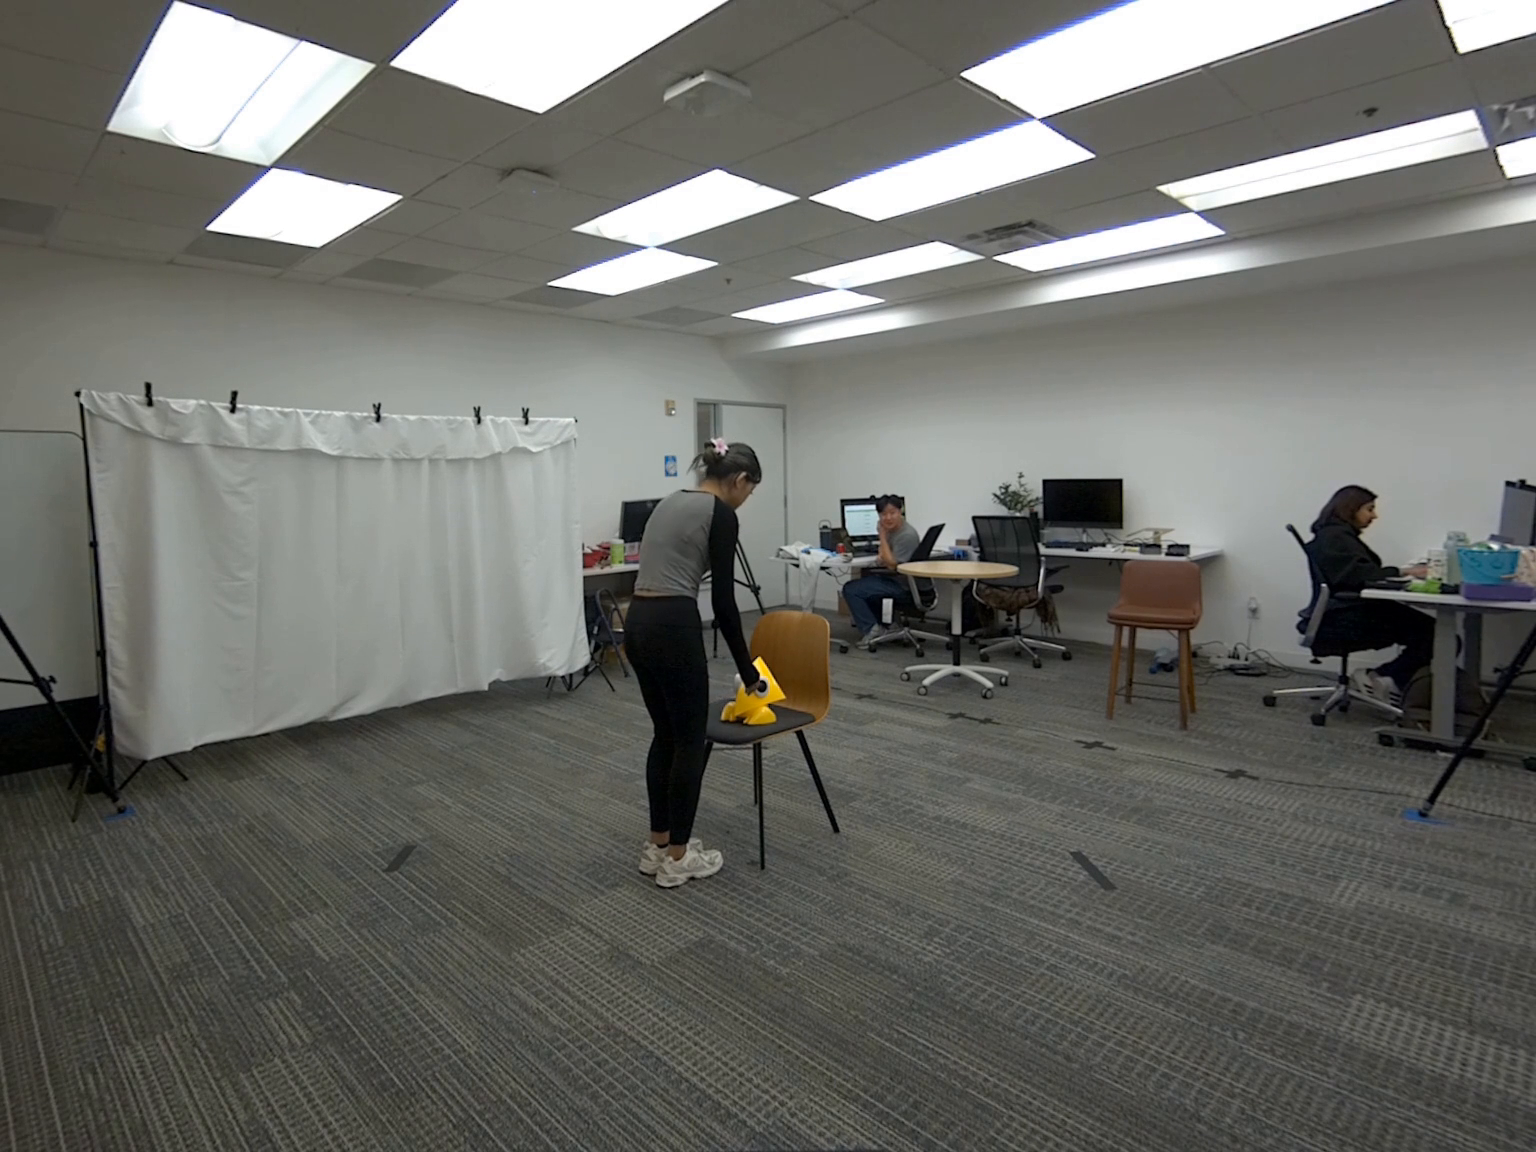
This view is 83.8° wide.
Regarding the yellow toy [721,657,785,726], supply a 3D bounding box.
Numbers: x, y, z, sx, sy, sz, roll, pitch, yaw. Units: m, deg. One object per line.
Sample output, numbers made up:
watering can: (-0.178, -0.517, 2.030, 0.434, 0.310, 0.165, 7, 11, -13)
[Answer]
yellow toy: (-0.068, 0.431, 3.245, 0.210, 0.231, 0.187, 0, 0, 38)
